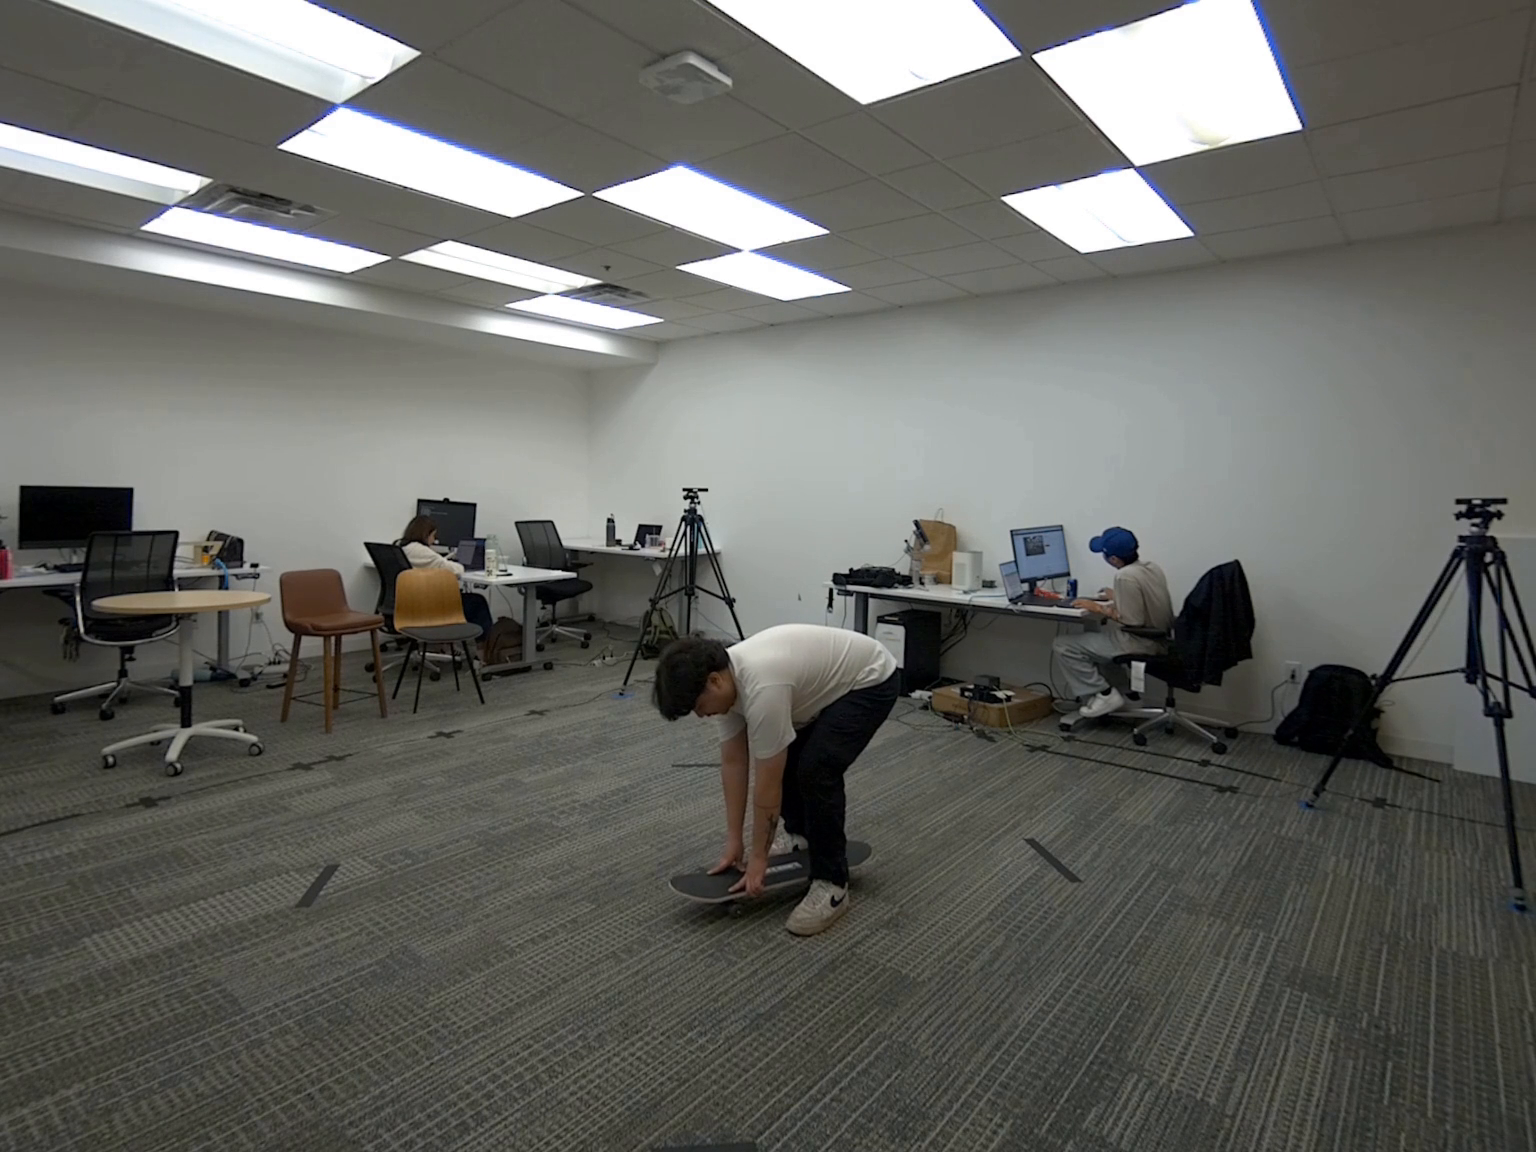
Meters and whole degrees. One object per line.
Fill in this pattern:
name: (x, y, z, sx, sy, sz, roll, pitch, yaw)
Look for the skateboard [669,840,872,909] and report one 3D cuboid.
skateboard: (0.016, 1.040, 2.922, 0.766, 0.110, 0.199, -2, 7, -27)
